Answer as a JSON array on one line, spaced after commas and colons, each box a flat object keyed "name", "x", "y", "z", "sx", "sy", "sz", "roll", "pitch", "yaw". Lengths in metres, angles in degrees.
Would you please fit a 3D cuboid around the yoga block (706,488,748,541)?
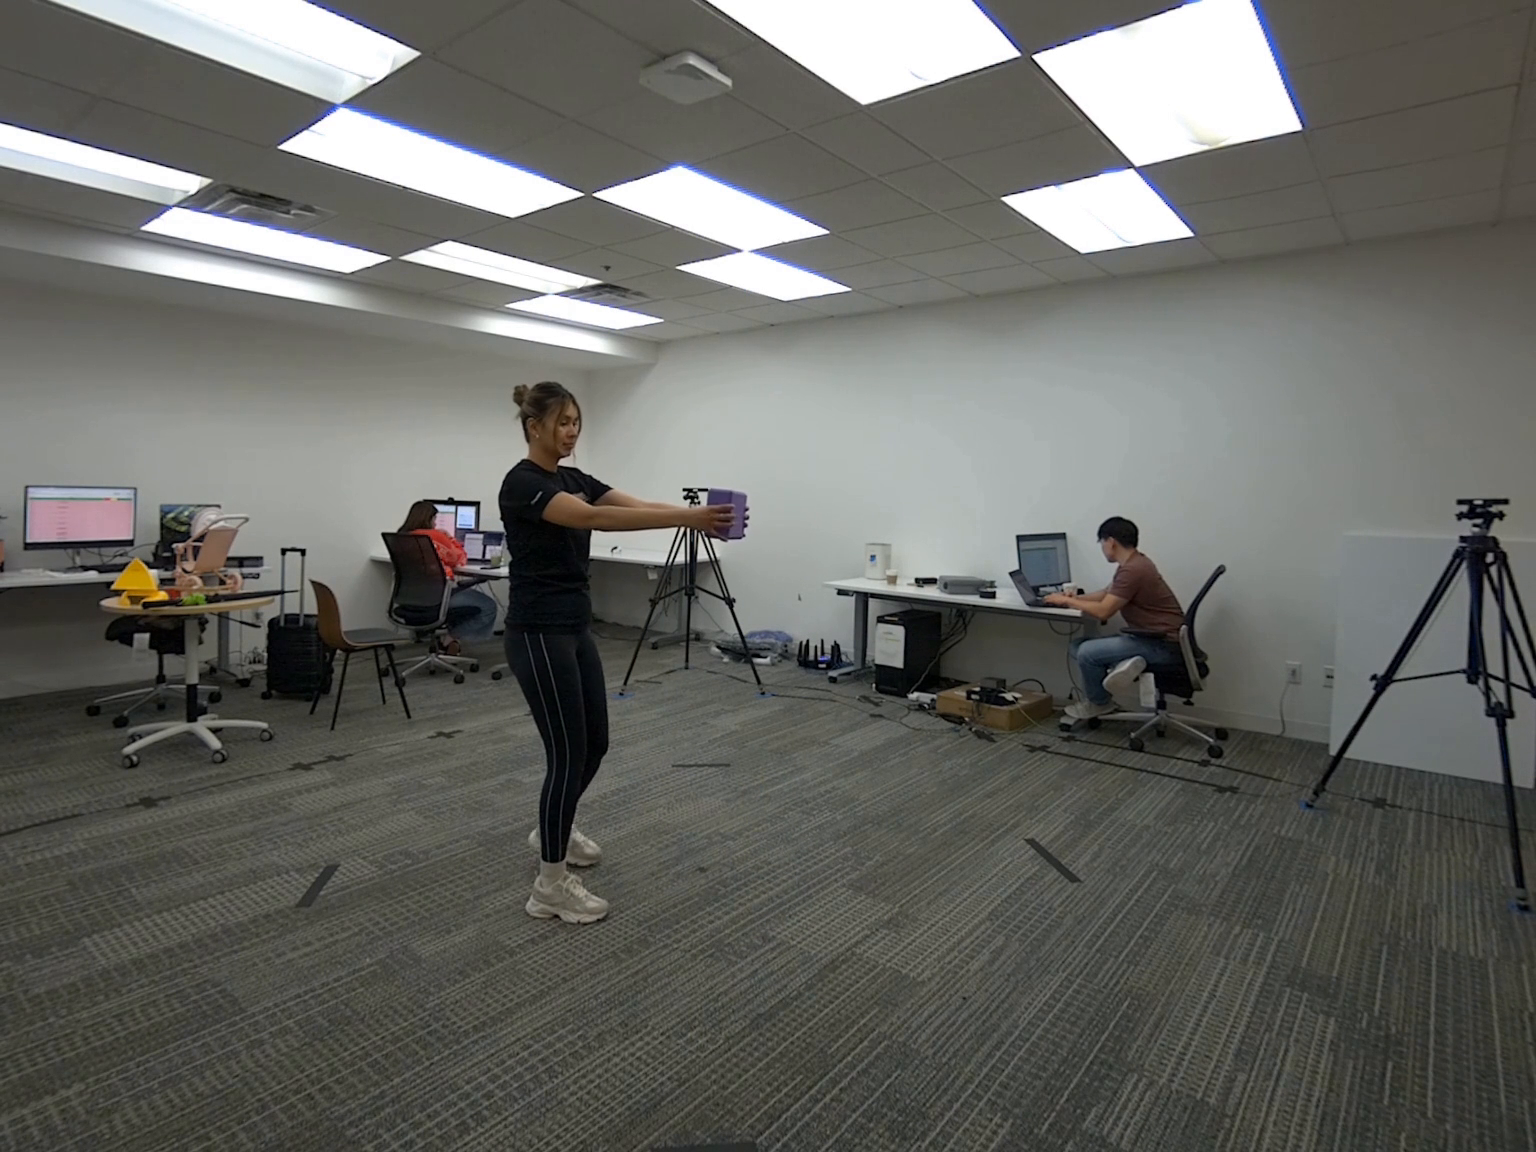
[{"name": "yoga block", "x": -0.145, "y": -0.191, "z": 2.615, "sx": 0.077, "sy": 0.149, "sz": 0.227, "roll": 3, "pitch": 1, "yaw": 6}]
